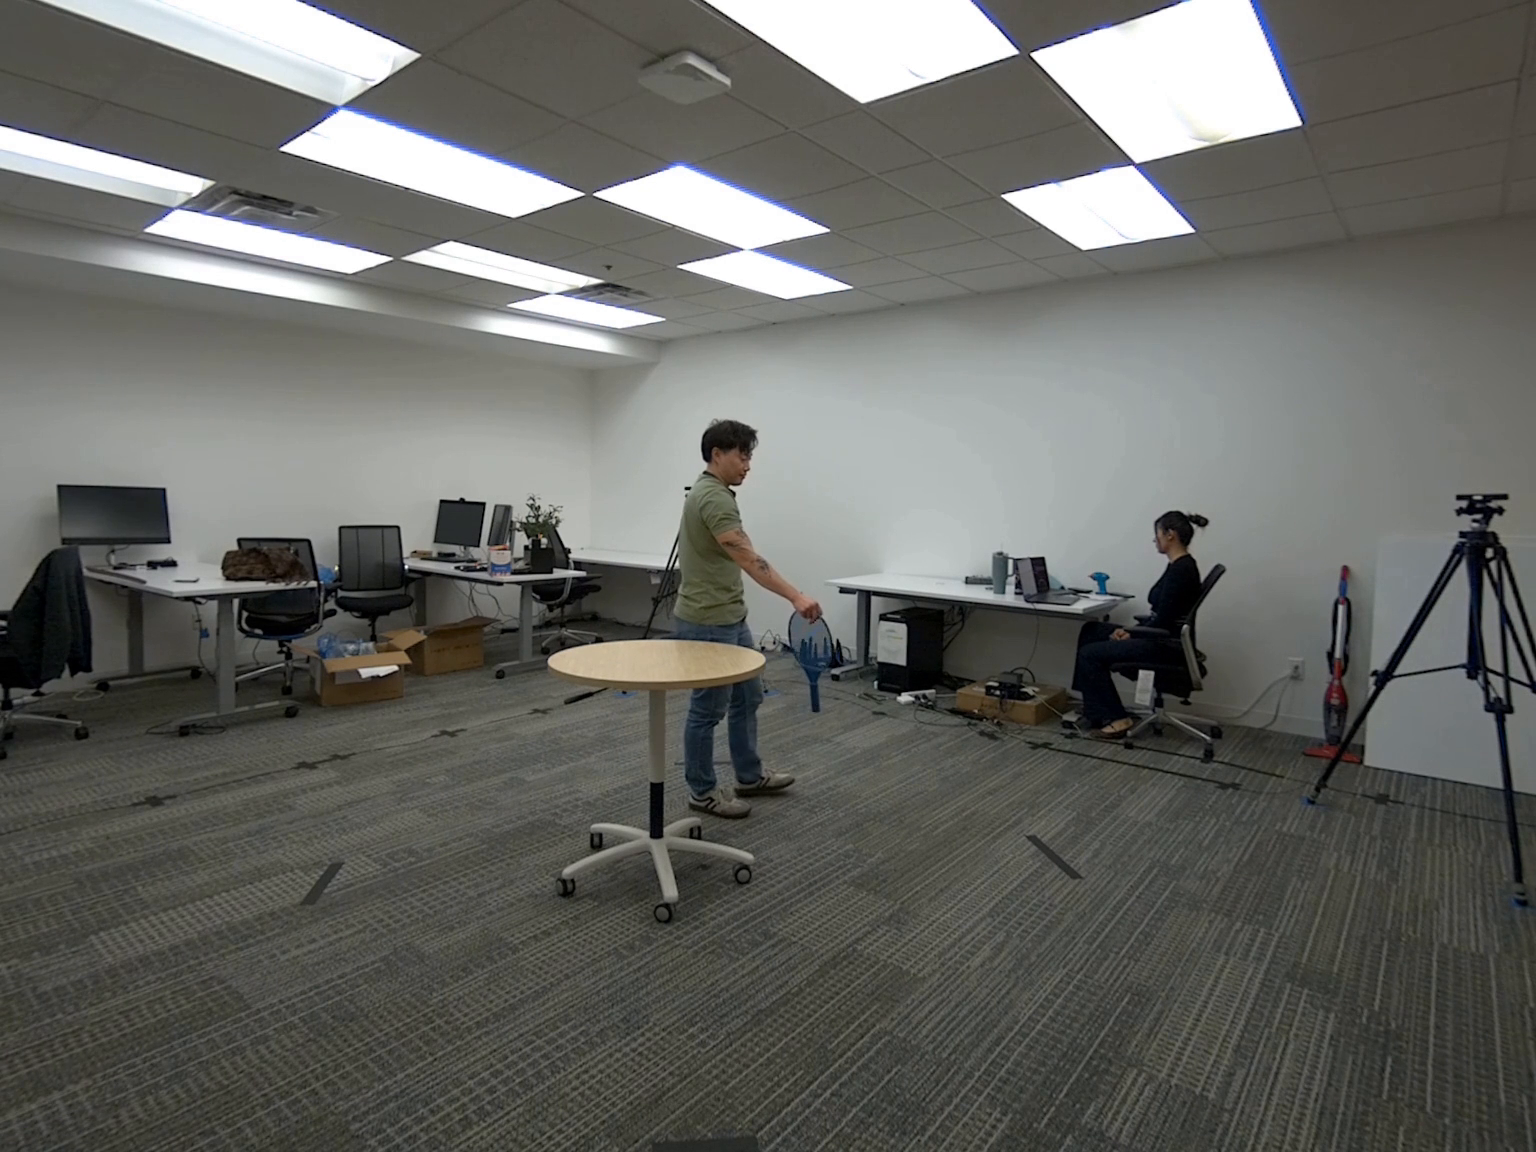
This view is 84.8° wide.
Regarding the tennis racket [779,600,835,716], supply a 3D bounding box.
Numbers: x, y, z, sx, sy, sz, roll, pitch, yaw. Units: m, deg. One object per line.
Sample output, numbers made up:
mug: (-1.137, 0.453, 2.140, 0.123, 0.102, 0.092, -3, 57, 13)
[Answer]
tennis racket: (0.152, 0.320, 3.324, 0.221, 0.427, 0.031, 8, 17, 39)
